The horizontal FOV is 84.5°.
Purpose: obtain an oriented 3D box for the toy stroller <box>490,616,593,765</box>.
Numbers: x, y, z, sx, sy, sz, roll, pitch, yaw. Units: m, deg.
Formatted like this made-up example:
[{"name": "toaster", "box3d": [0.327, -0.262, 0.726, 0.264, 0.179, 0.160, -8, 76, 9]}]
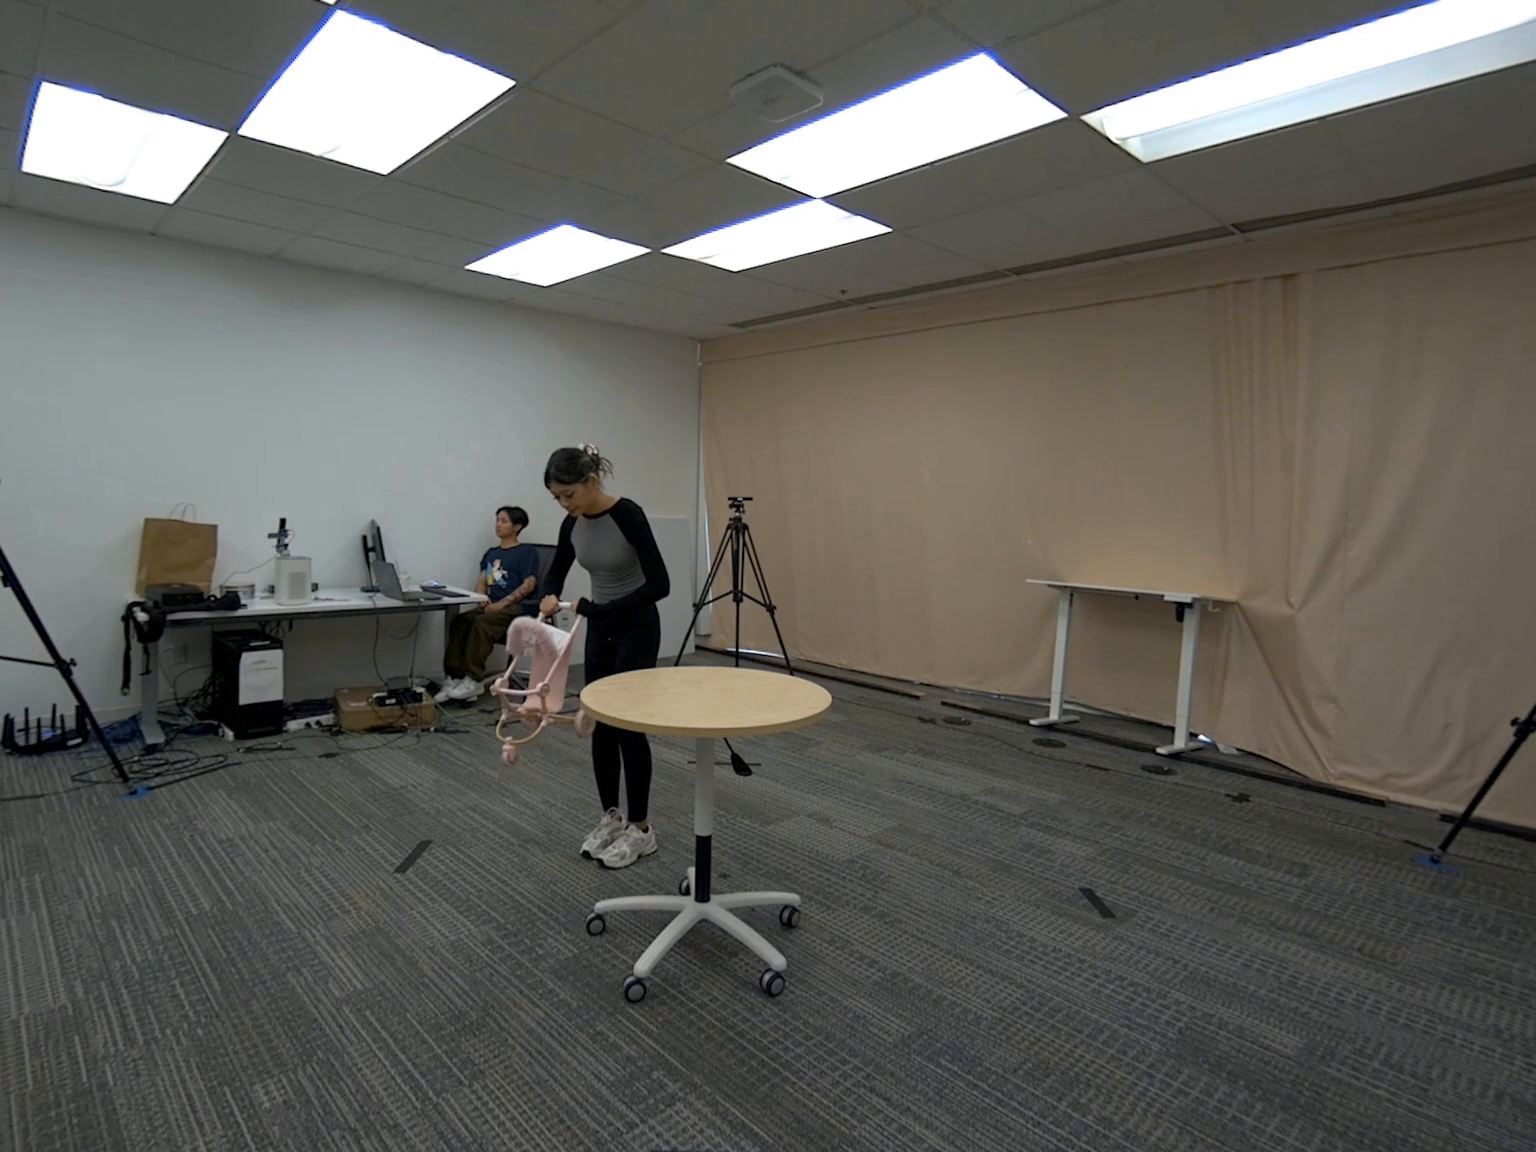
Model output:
[{"name": "toy stroller", "box3d": [-0.820, 0.378, 2.955, 0.288, 0.534, 0.334, 1, 2, 33]}]
